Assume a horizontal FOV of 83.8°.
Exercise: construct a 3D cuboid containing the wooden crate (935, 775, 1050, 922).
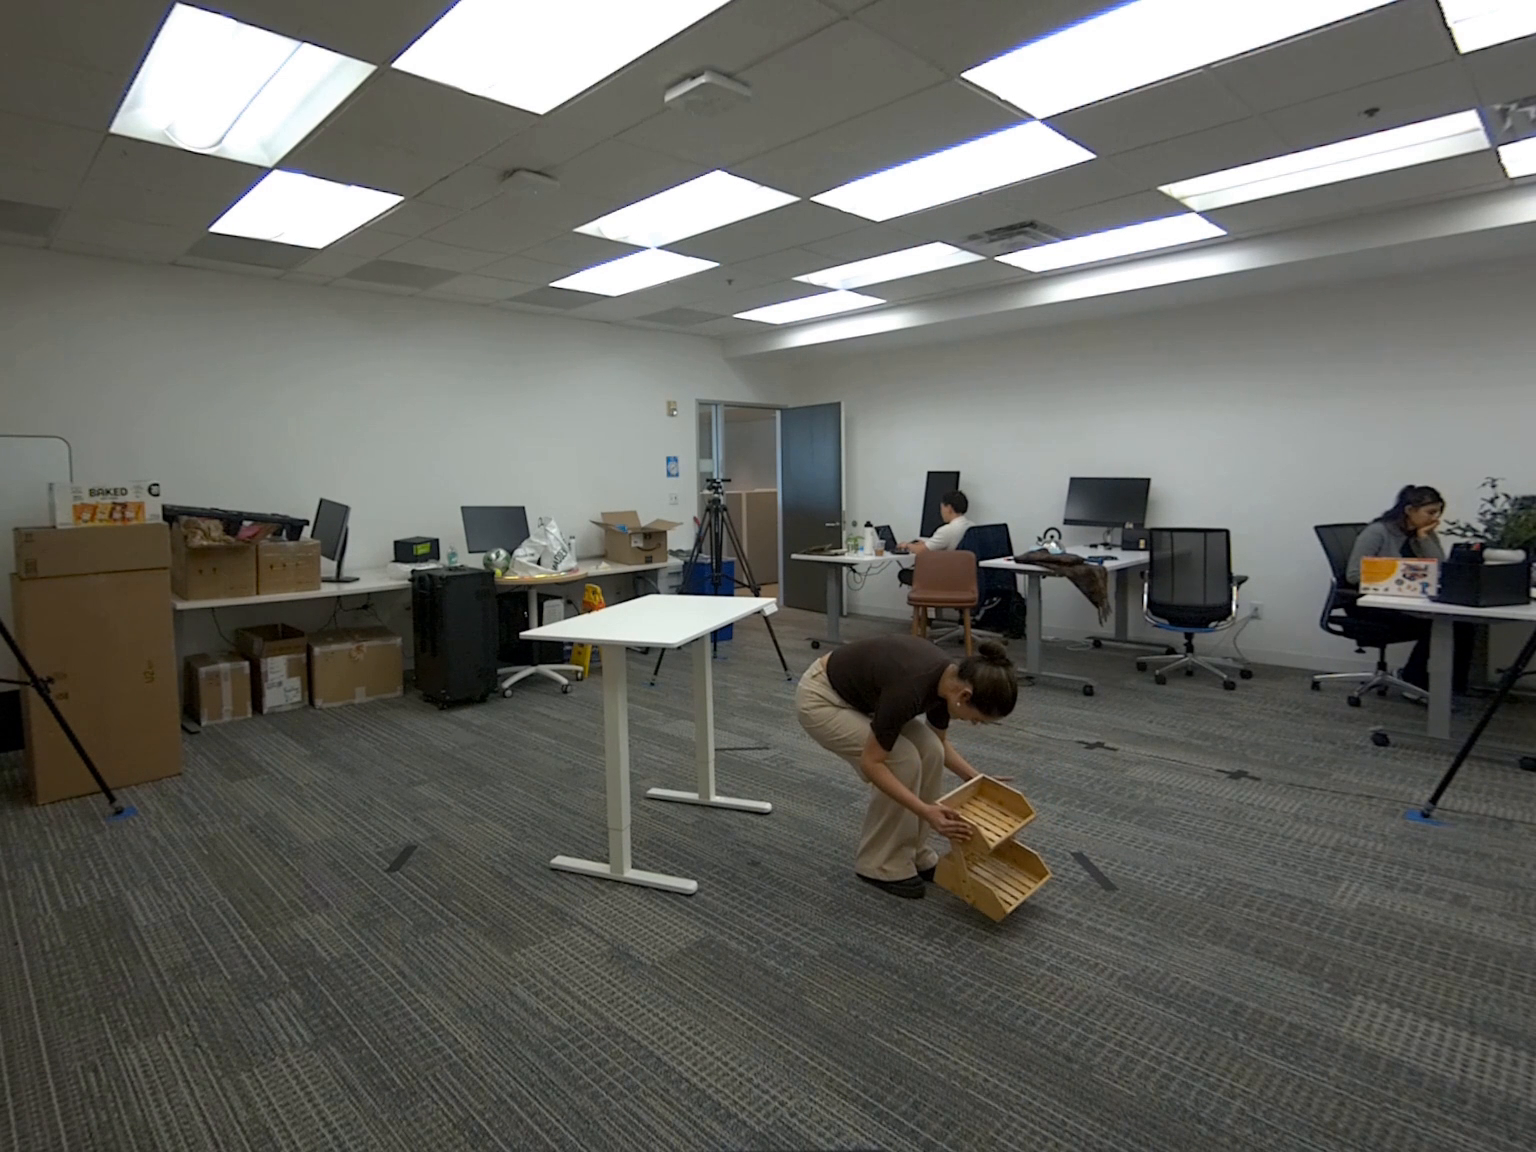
[{"bbox_3d":[0.726,0.858,2.715,0.313,0.270,0.316,20,21,40],"label":"wooden crate"}]
